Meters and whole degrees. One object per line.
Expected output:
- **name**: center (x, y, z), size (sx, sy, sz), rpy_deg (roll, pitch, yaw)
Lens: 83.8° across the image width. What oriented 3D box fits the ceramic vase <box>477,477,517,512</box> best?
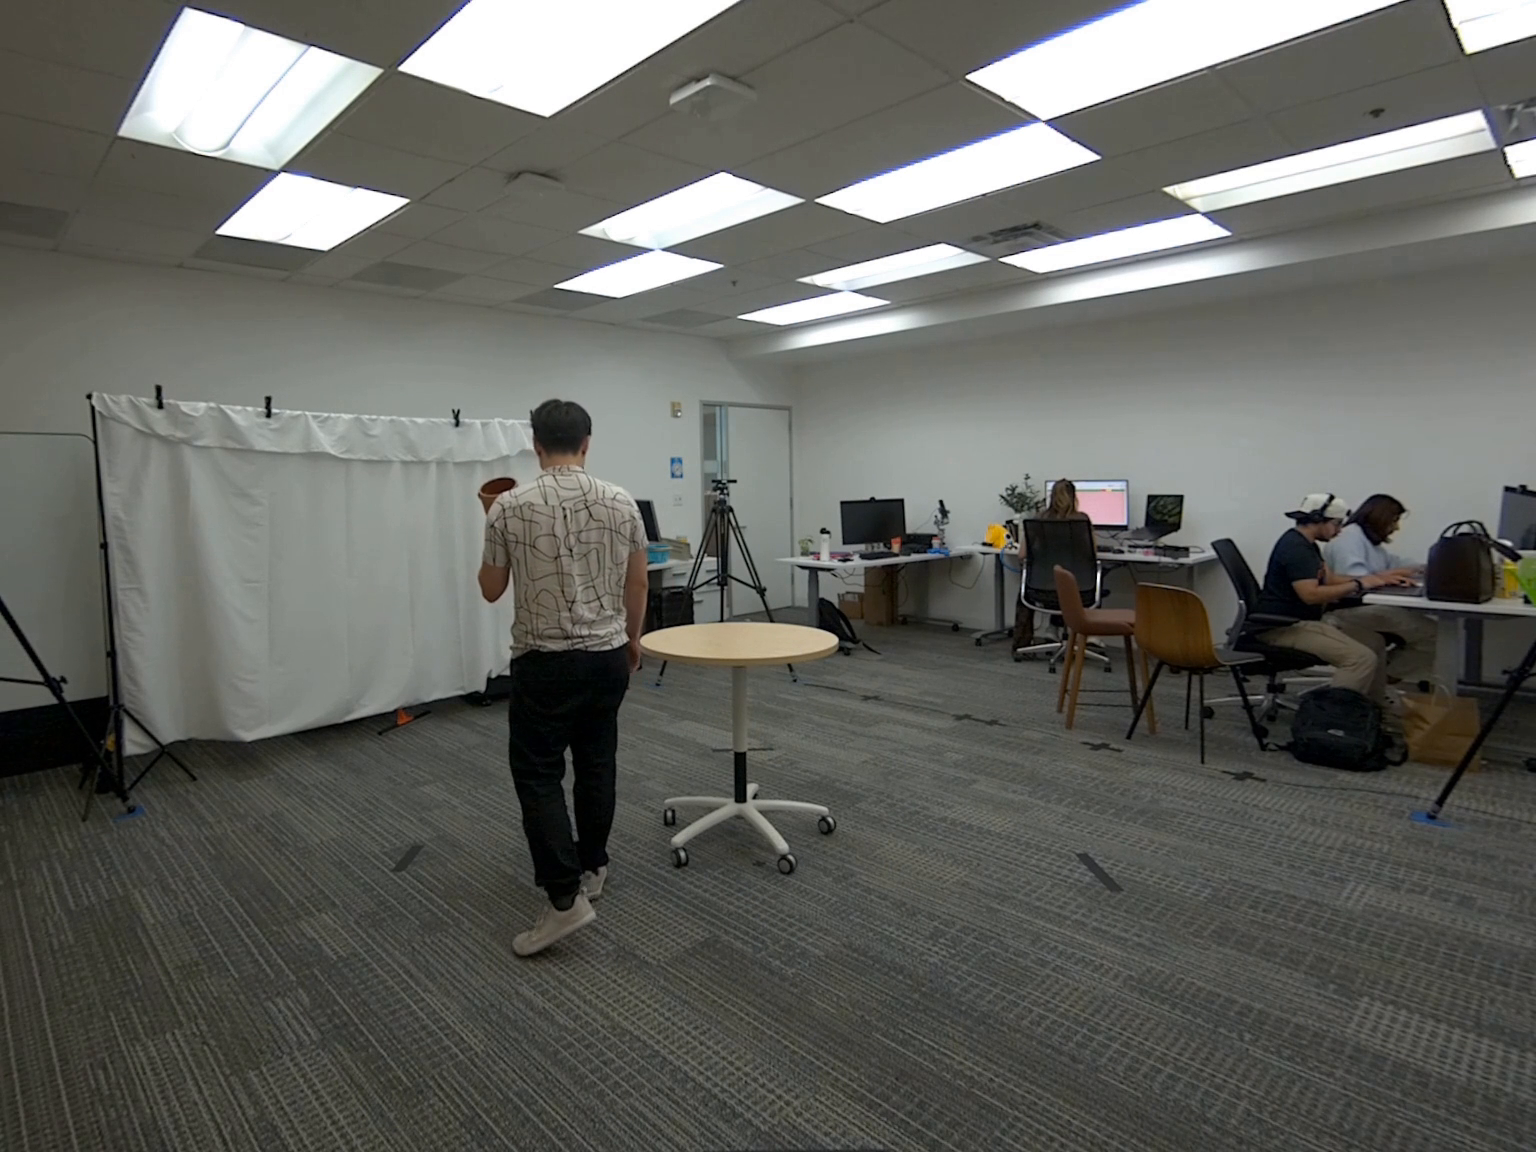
- **ceramic vase**: center (-0.906, -0.215, 2.949), size (0.133, 0.213, 0.165), rpy_deg (-20, 36, -18)
